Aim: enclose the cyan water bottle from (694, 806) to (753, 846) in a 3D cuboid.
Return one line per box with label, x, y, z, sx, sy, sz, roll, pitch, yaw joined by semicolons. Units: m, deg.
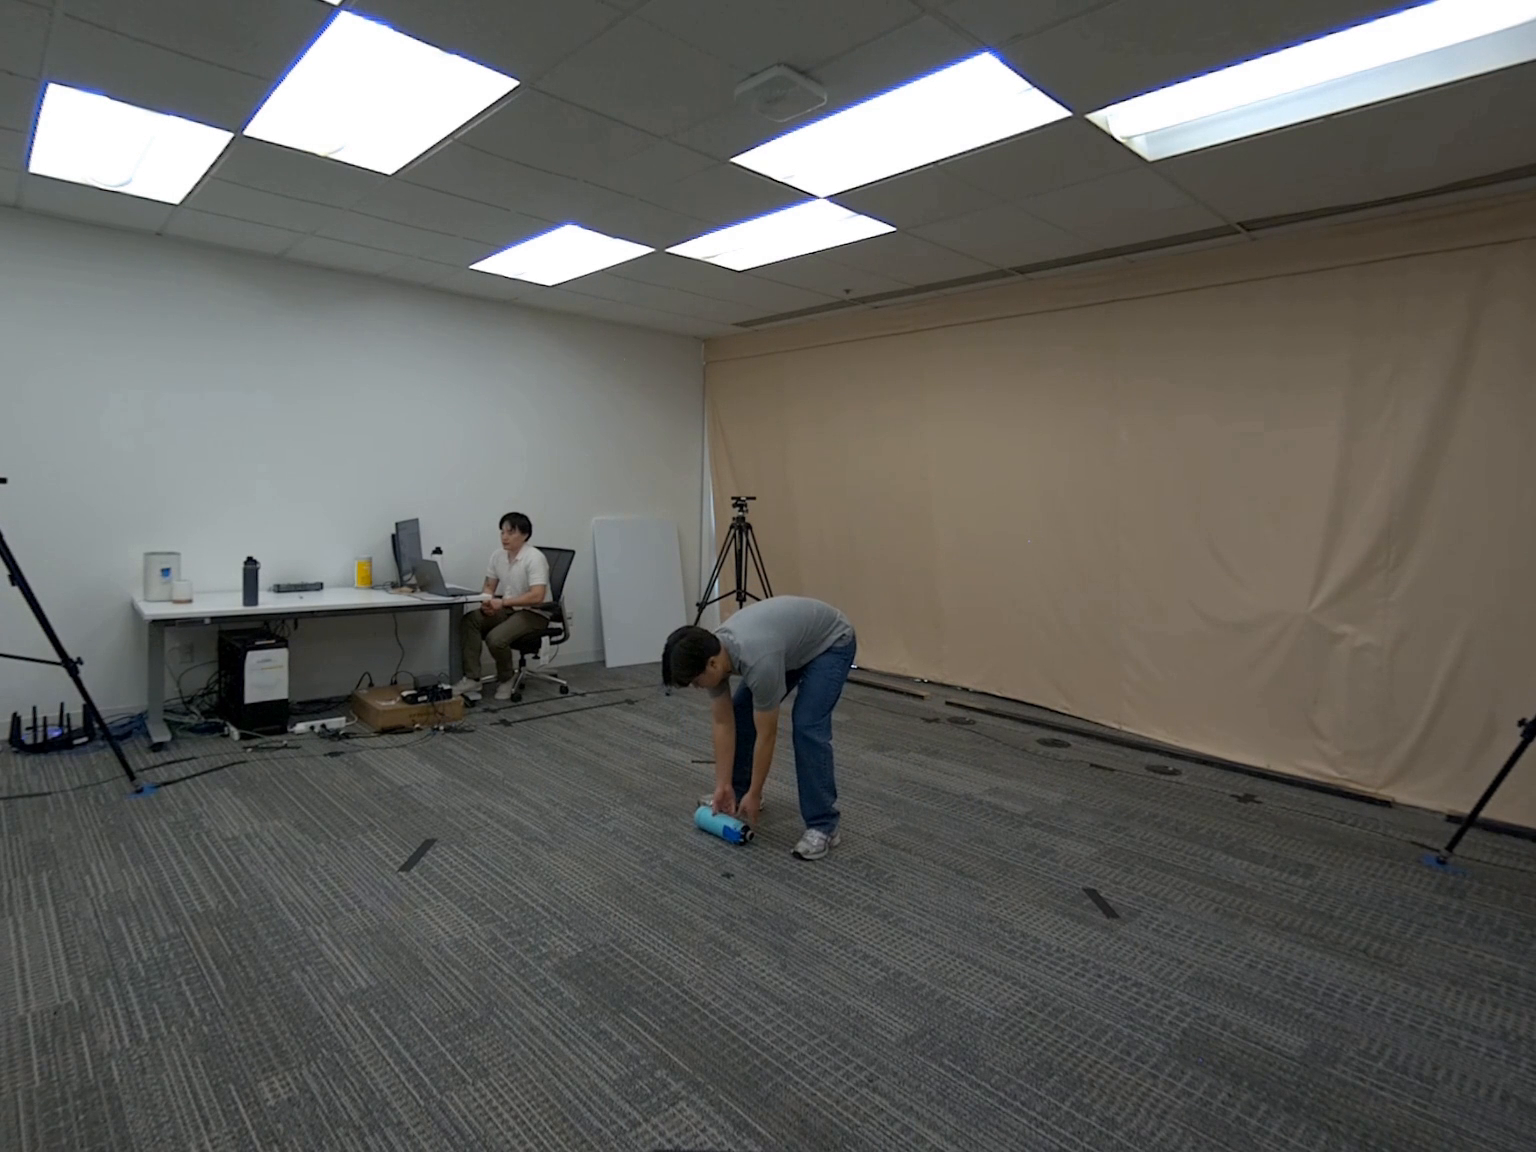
cyan water bottle;-0.191;1.026;3.450;0.291;0.092;0.090;7;7;44
